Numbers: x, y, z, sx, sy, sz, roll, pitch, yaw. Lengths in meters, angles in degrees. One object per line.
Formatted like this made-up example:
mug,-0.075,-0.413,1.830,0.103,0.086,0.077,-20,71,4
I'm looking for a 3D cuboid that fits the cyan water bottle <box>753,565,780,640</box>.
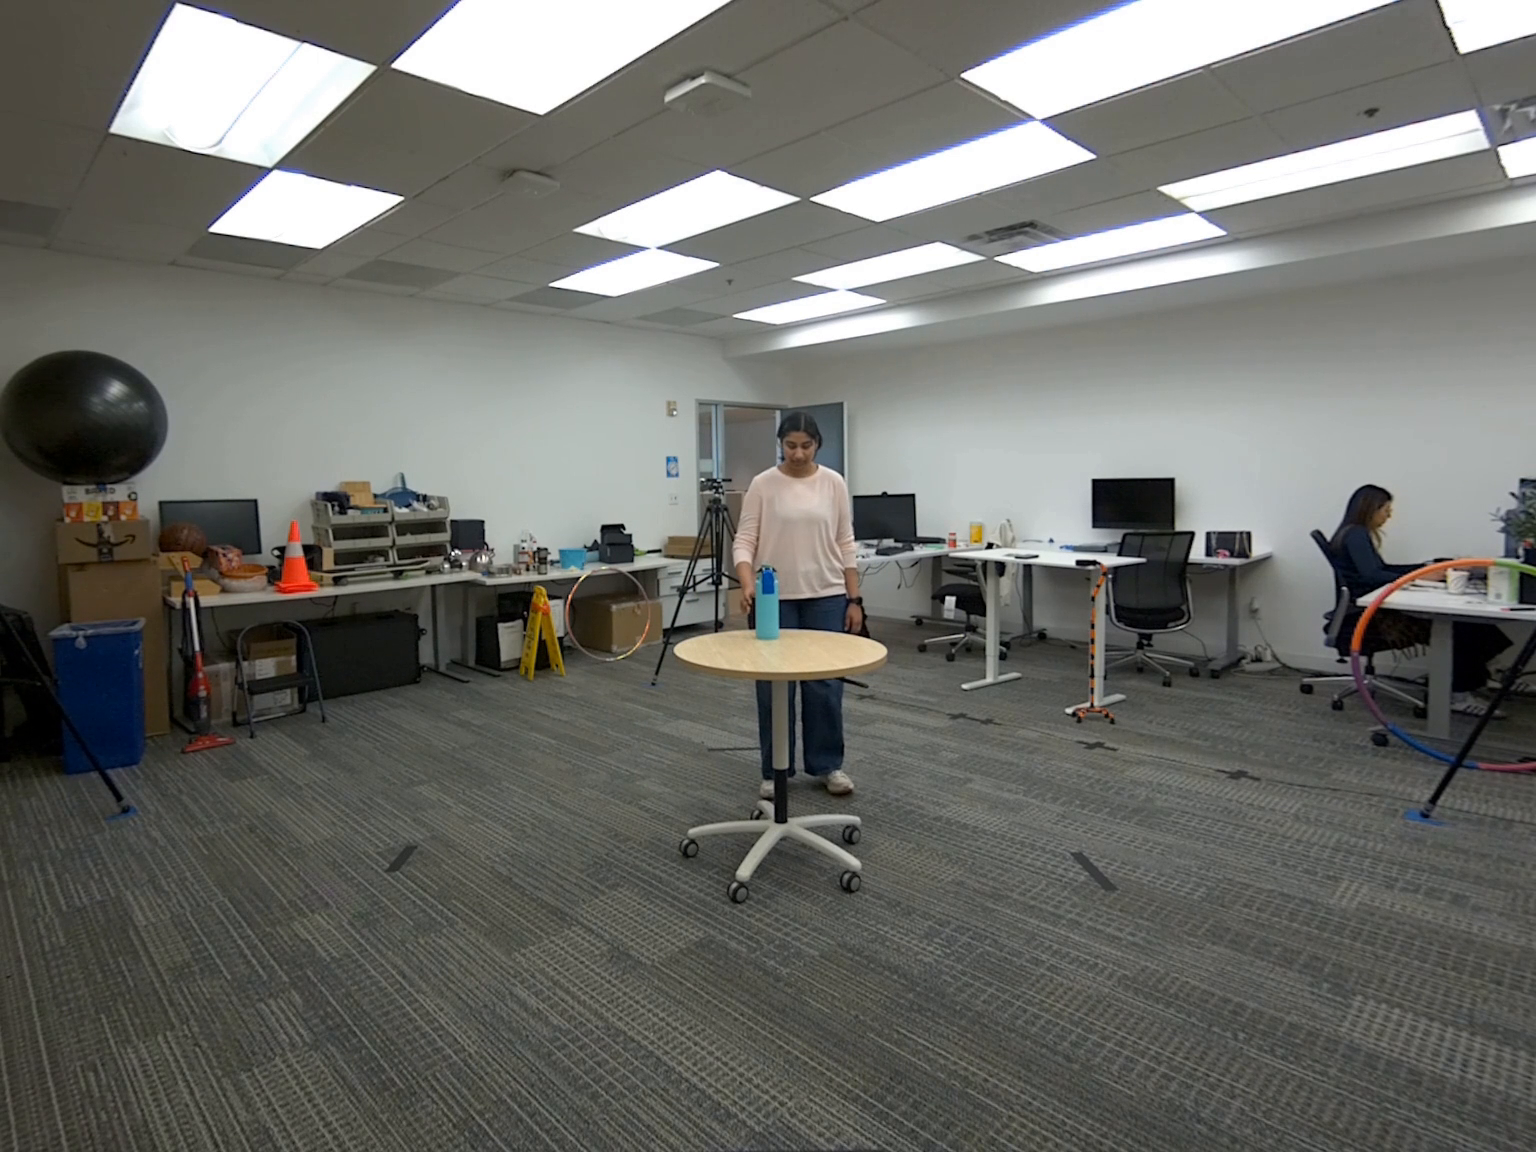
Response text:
cyan water bottle,-0.005,0.101,3.283,0.092,0.282,0.093,0,4,-2
